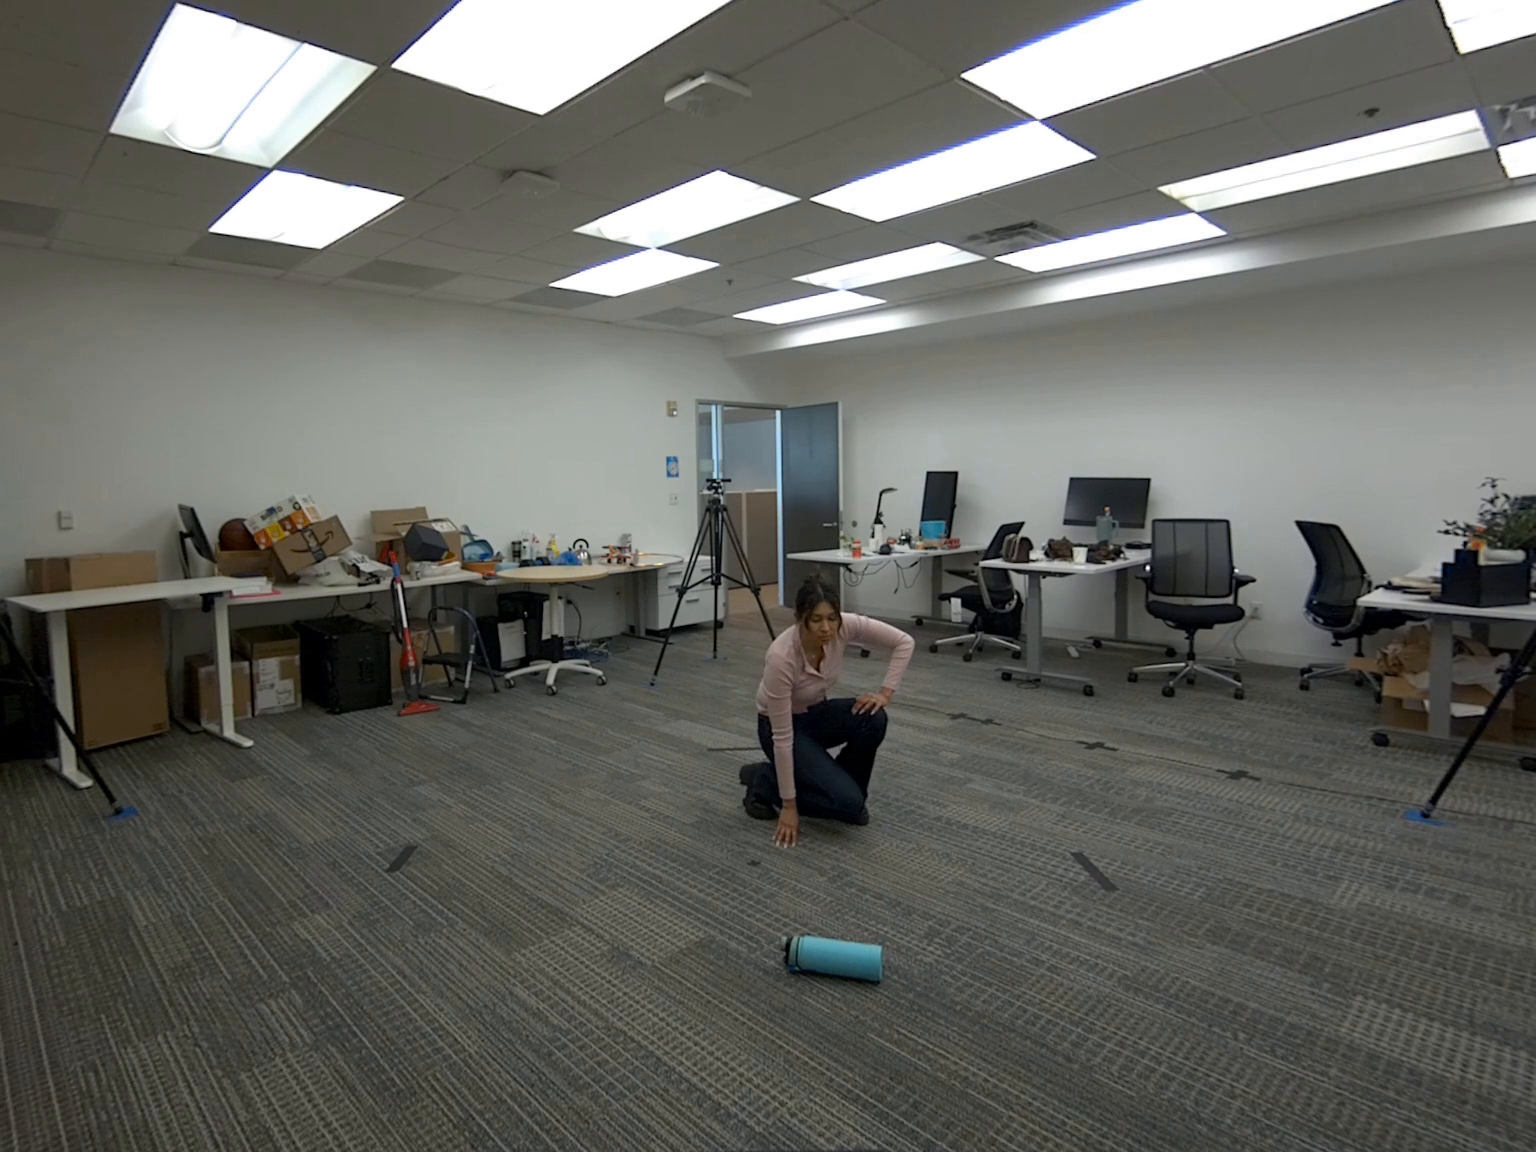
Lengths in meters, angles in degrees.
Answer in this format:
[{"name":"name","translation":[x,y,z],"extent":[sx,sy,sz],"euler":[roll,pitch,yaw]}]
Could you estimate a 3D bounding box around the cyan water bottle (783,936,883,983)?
[{"name":"cyan water bottle","translation":[0.179,1.076,2.408],"extent":[0.287,0.092,0.091],"euler":[1,5,13]}]
